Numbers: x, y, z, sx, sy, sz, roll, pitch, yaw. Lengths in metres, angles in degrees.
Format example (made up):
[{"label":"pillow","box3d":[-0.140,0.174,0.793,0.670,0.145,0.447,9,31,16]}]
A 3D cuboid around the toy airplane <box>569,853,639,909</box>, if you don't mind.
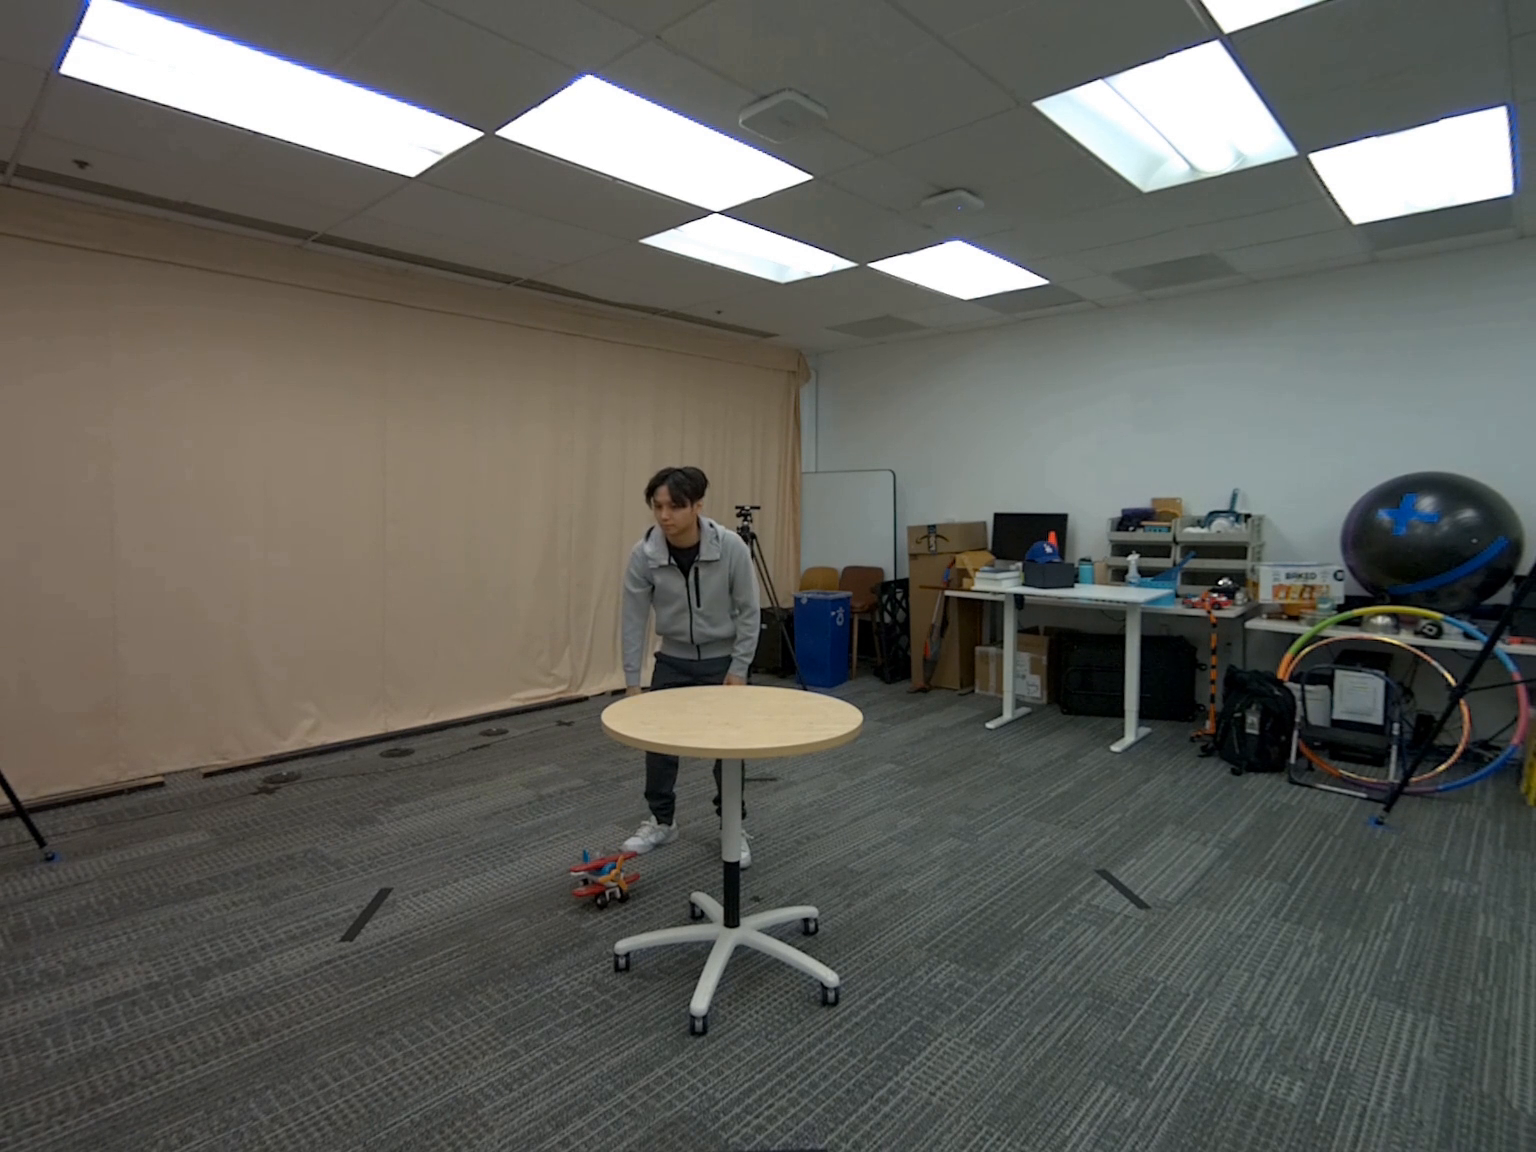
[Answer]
[{"label":"toy airplane","box3d":[-0.612,1.074,2.999,0.266,0.156,0.245,3,6,25]}]
